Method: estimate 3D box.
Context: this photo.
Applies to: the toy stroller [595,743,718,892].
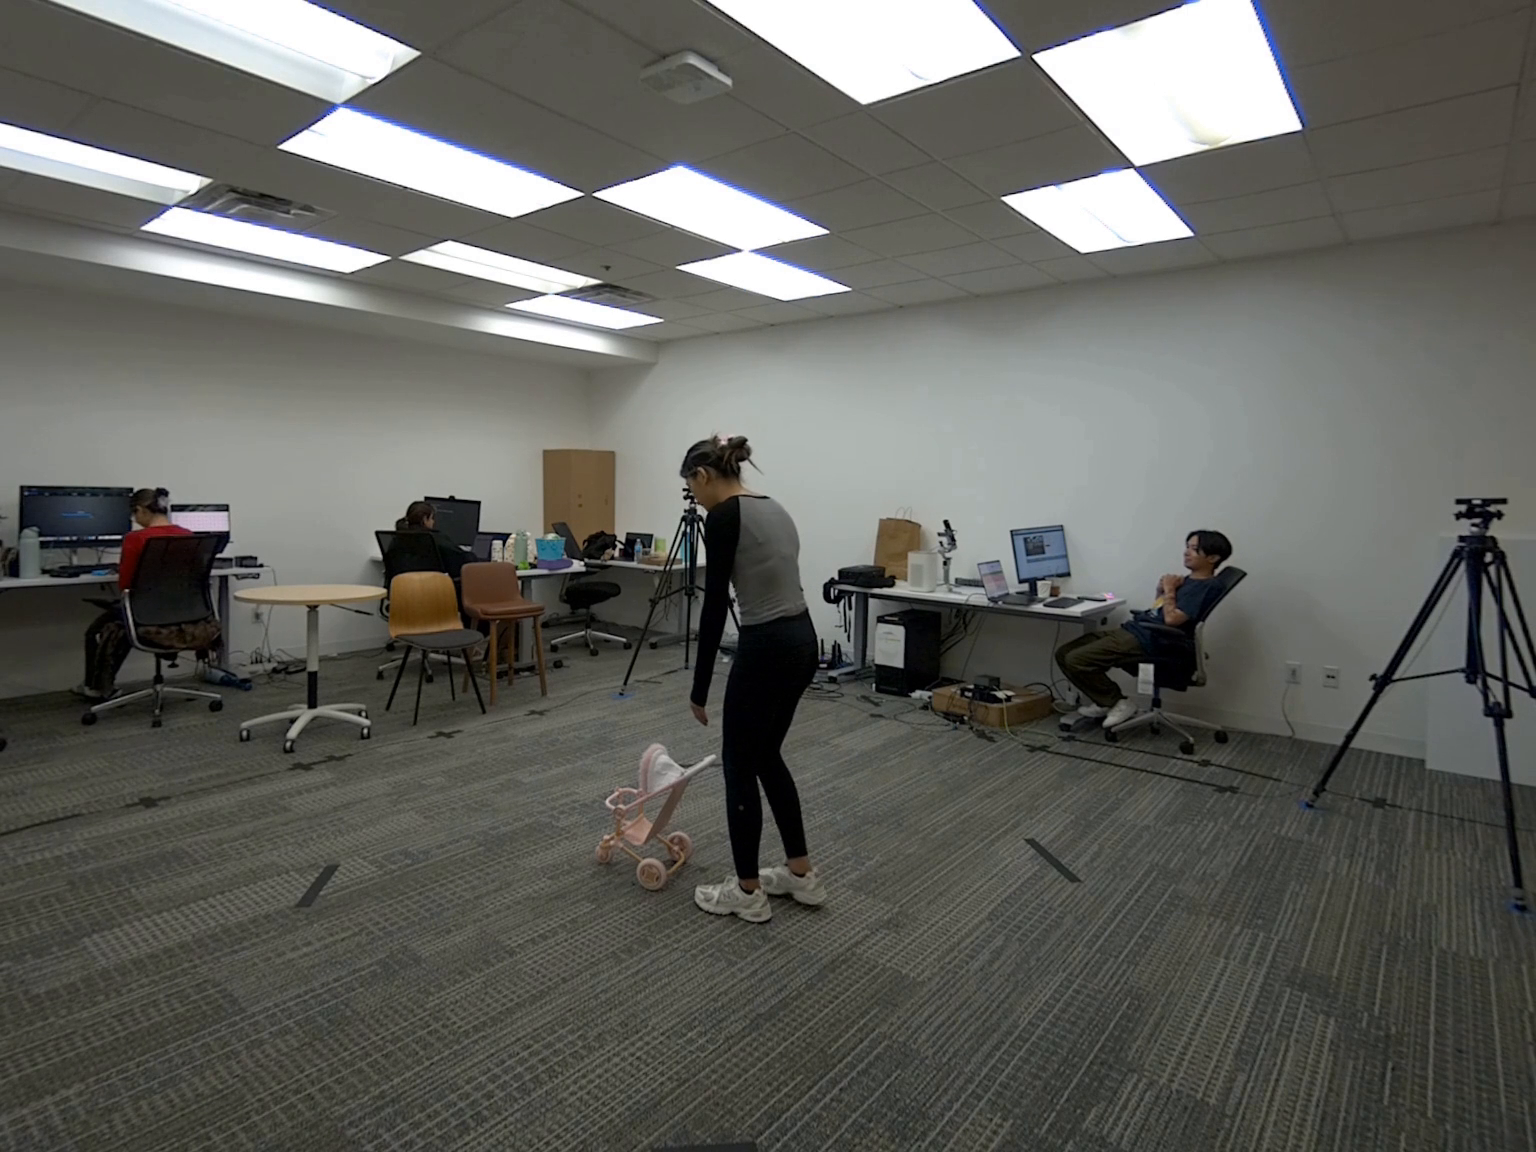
[{"bbox_3d":[-0.434,0.844,3.074,0.351,0.532,0.275,19,9,21],"label":"toy stroller"}]
